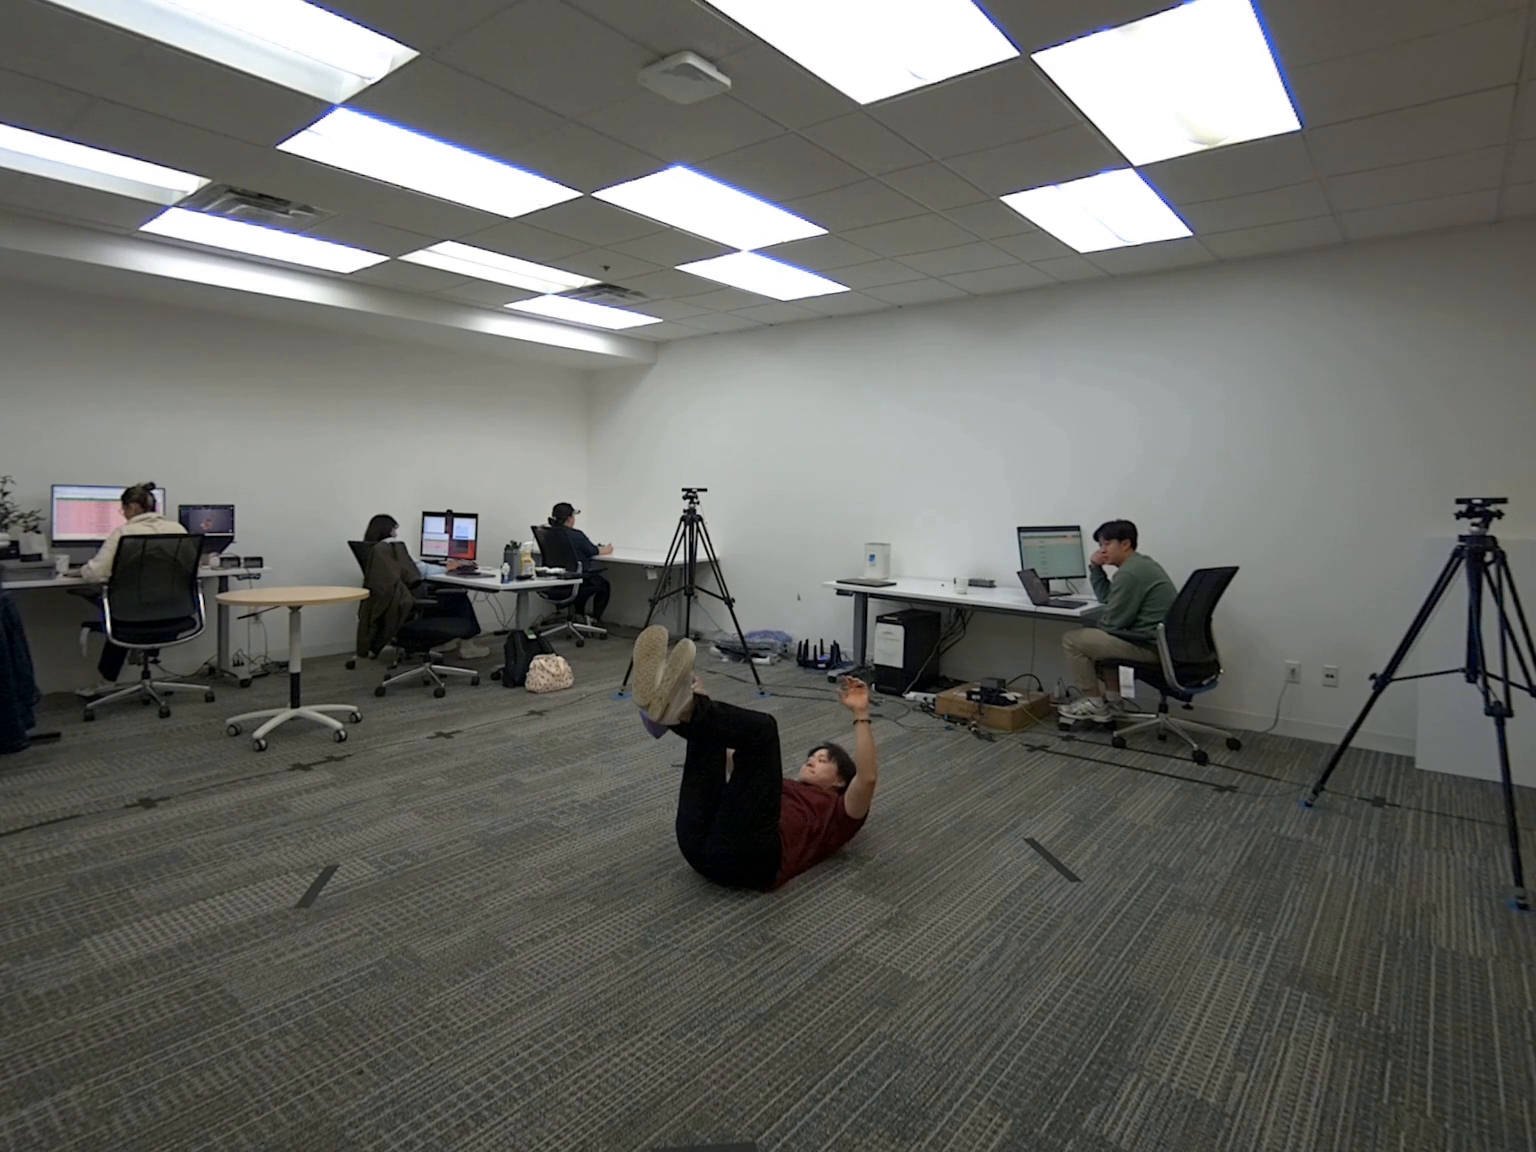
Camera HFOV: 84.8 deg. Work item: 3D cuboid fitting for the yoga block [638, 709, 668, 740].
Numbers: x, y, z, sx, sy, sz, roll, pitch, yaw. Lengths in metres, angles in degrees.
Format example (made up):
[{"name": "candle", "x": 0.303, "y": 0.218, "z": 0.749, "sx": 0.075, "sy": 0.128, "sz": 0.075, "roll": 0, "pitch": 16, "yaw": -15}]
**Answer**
[{"name": "yoga block", "x": -0.414, "y": 0.523, "z": 3.419, "sx": 0.079, "sy": 0.144, "sz": 0.228, "roll": 32, "pitch": 59, "yaw": 34}]
